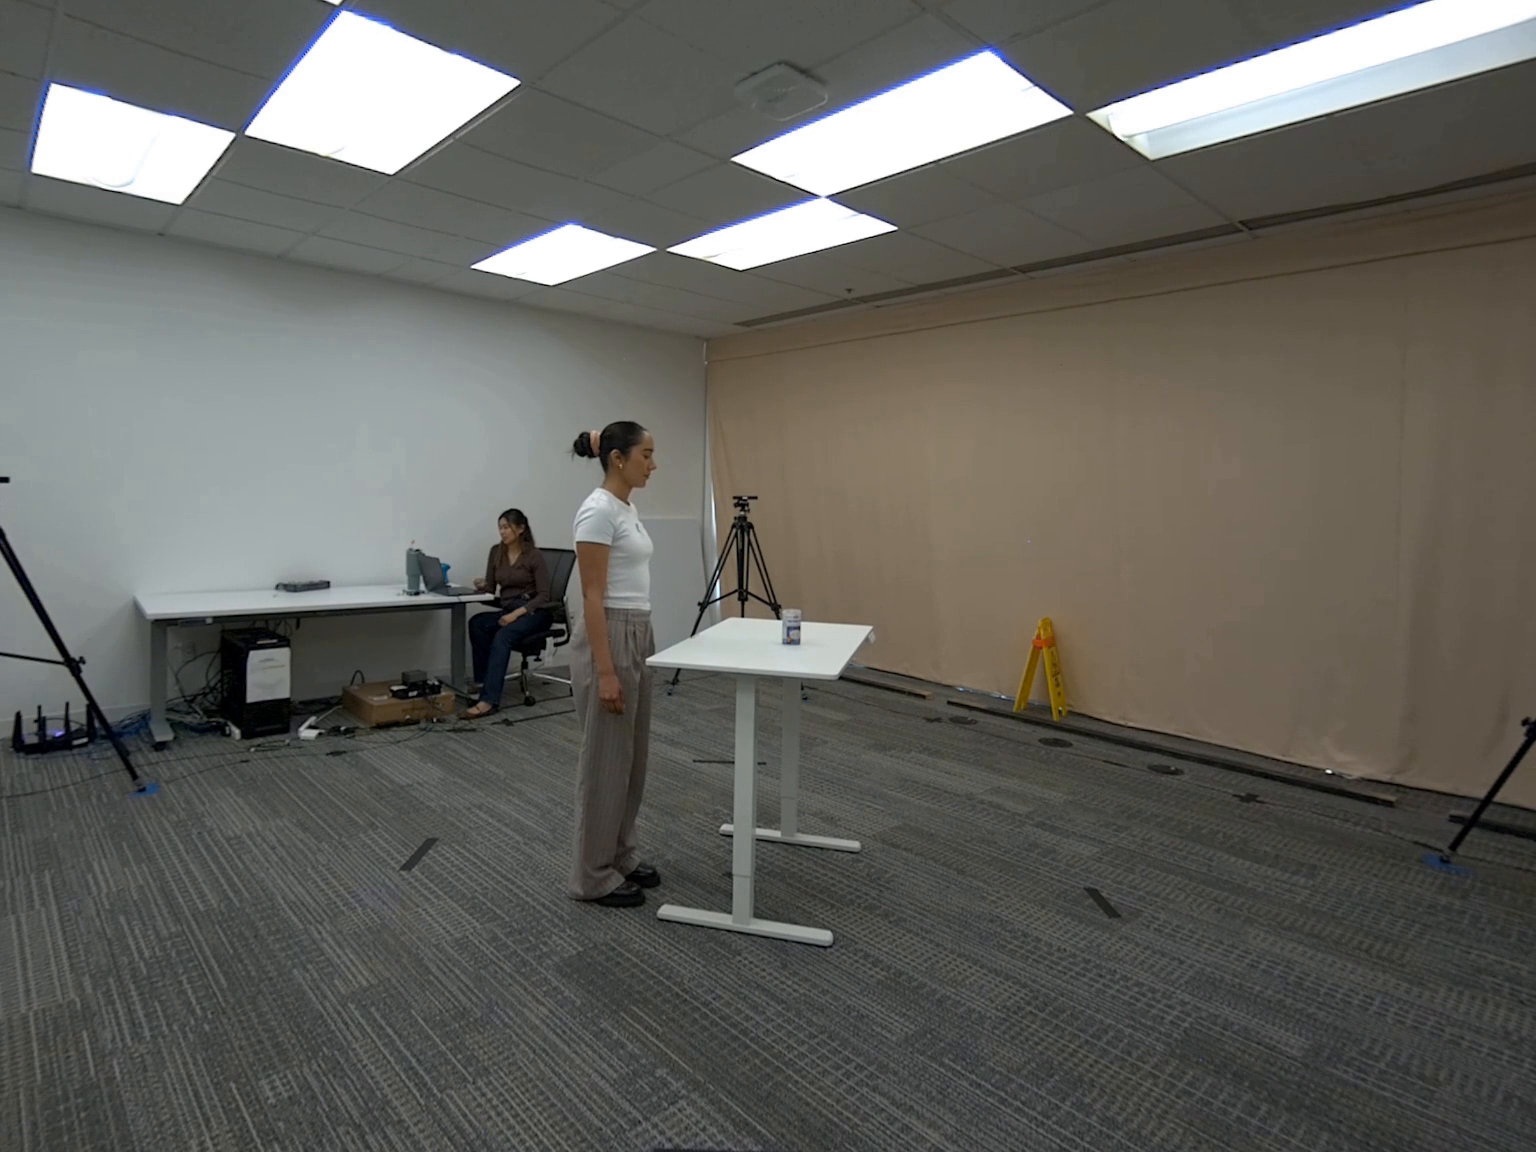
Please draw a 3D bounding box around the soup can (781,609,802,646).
[{"bbox_3d":[0.074,0.178,2.964,0.067,0.122,0.067,-1,-2,-1],"label":"soup can"}]
